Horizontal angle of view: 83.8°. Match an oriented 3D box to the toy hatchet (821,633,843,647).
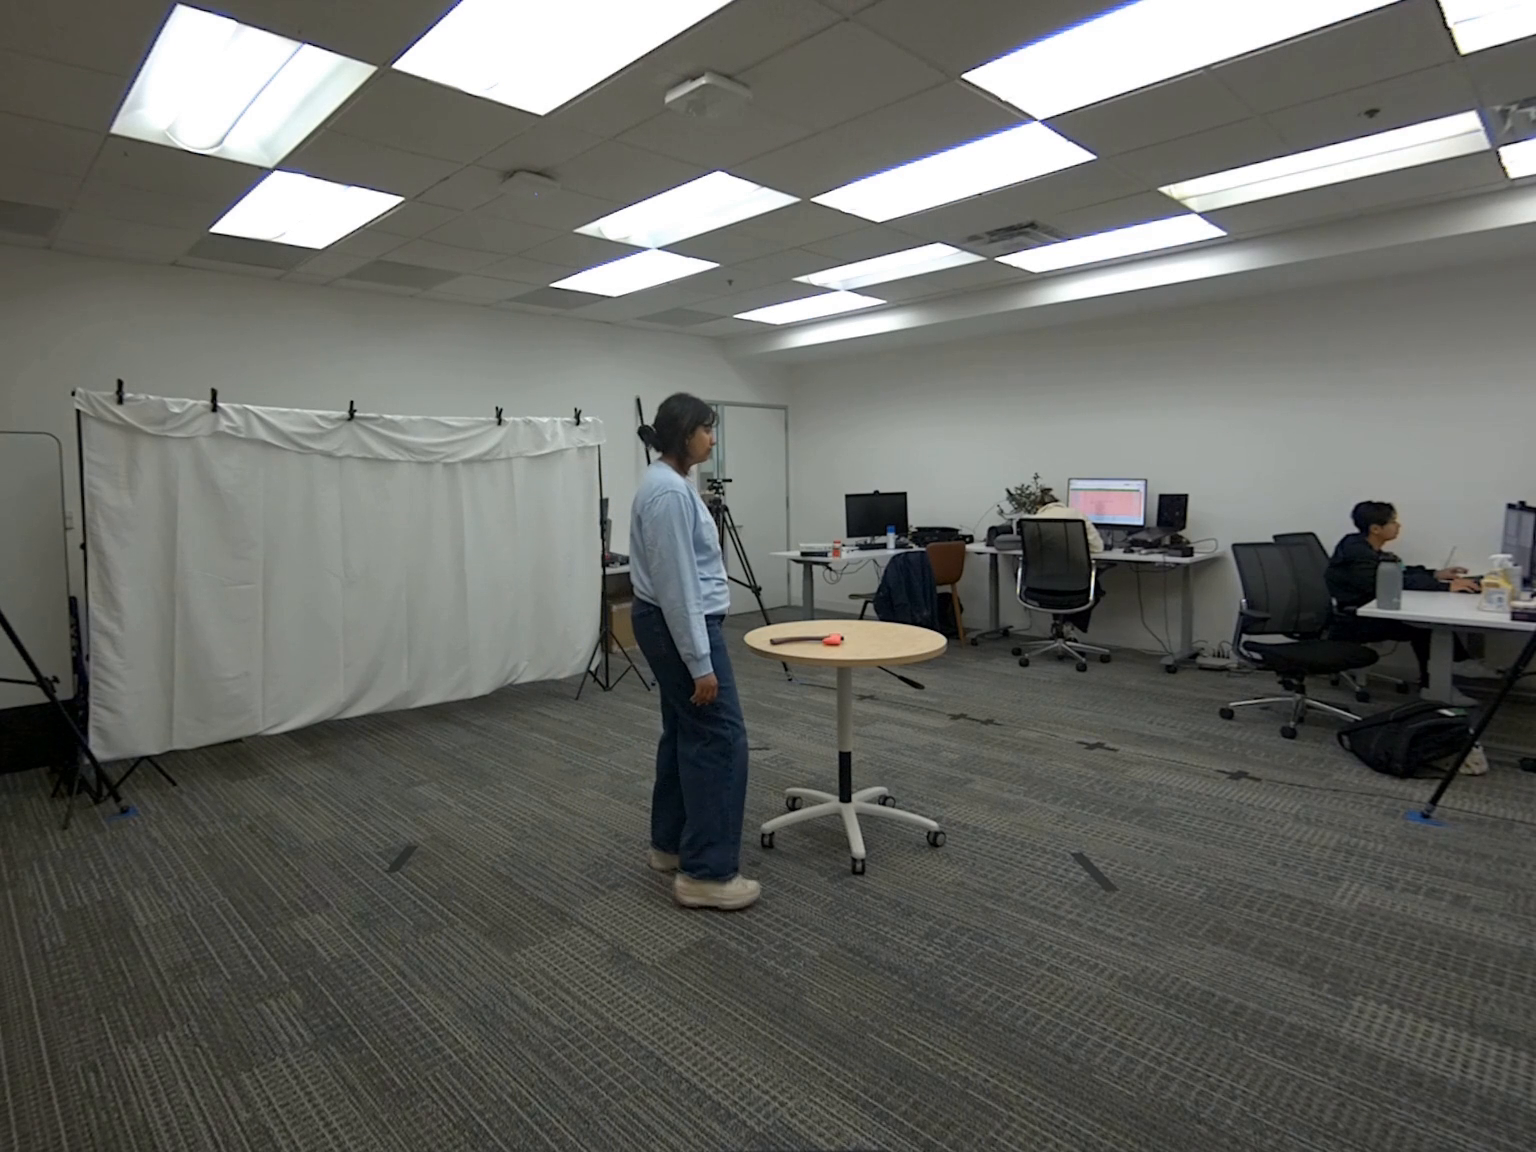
[{"bbox_3d":[0.160,0.243,3.154,0.266,0.029,0.134,-5,12,-15],"label":"toy hatchet"}]
